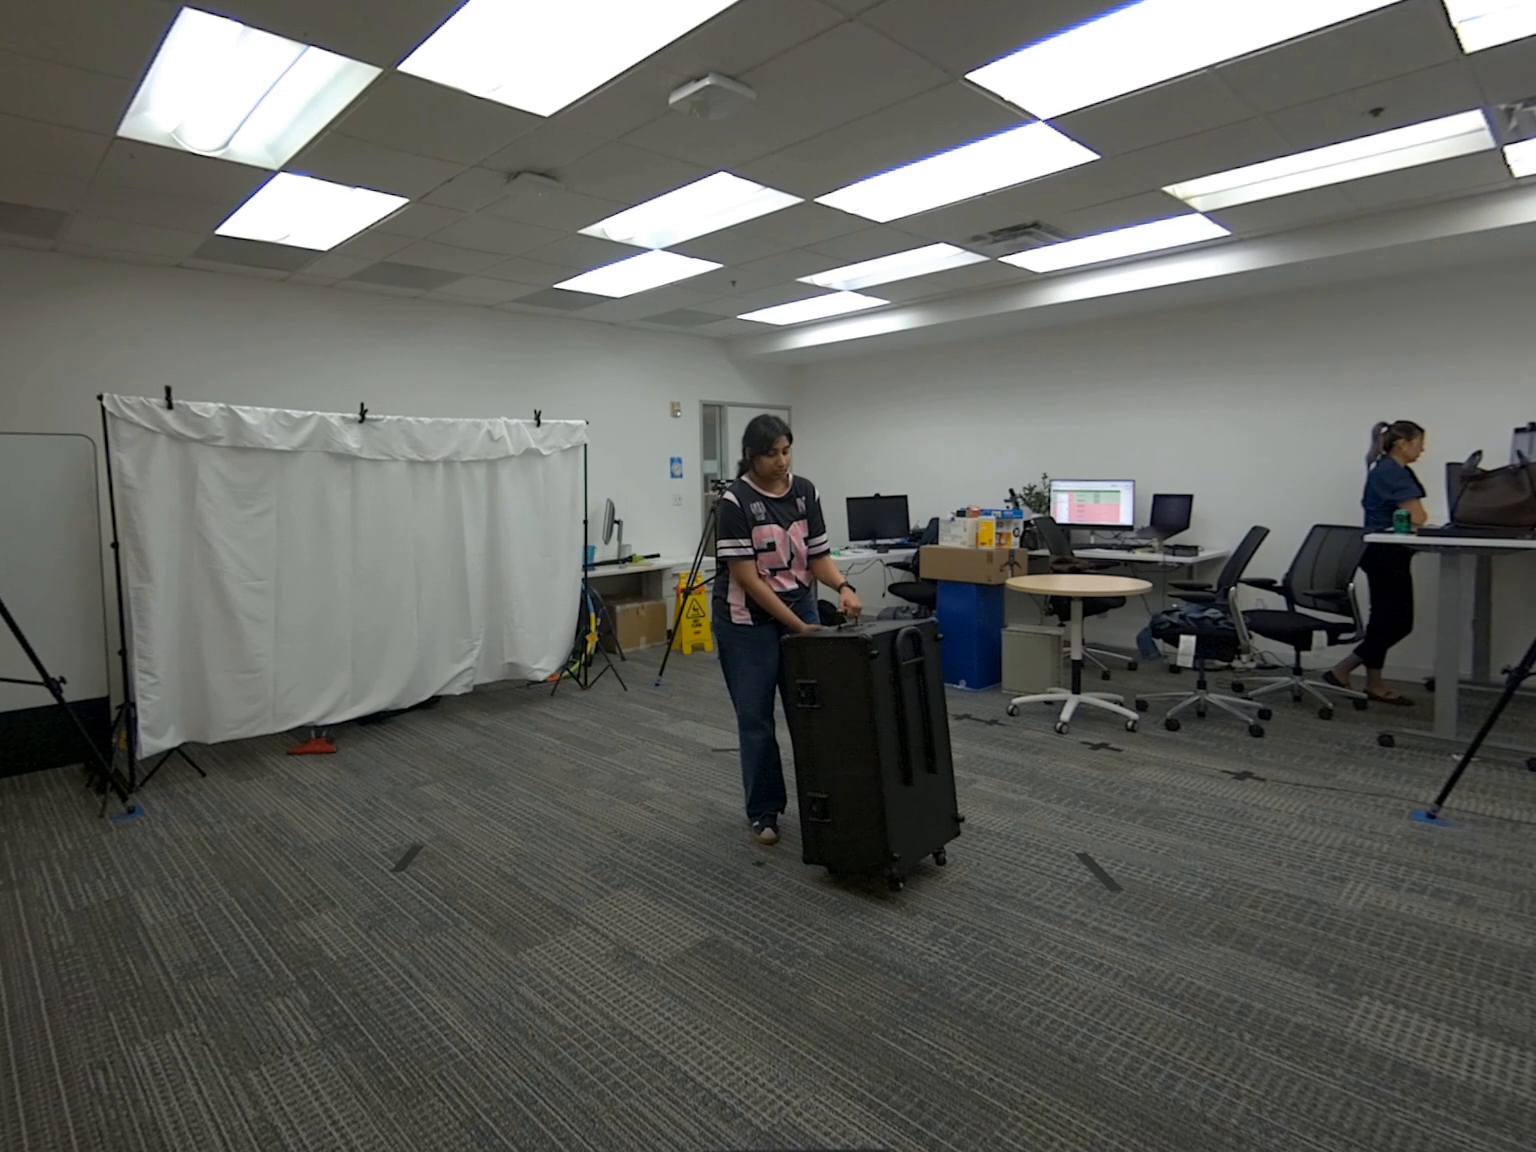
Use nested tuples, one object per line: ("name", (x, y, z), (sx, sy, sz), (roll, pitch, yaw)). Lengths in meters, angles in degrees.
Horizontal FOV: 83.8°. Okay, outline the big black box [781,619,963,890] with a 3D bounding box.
("big black box", (0.387, 0.613, 3.026), (0.395, 0.870, 0.509), (-8, -2, 40))
